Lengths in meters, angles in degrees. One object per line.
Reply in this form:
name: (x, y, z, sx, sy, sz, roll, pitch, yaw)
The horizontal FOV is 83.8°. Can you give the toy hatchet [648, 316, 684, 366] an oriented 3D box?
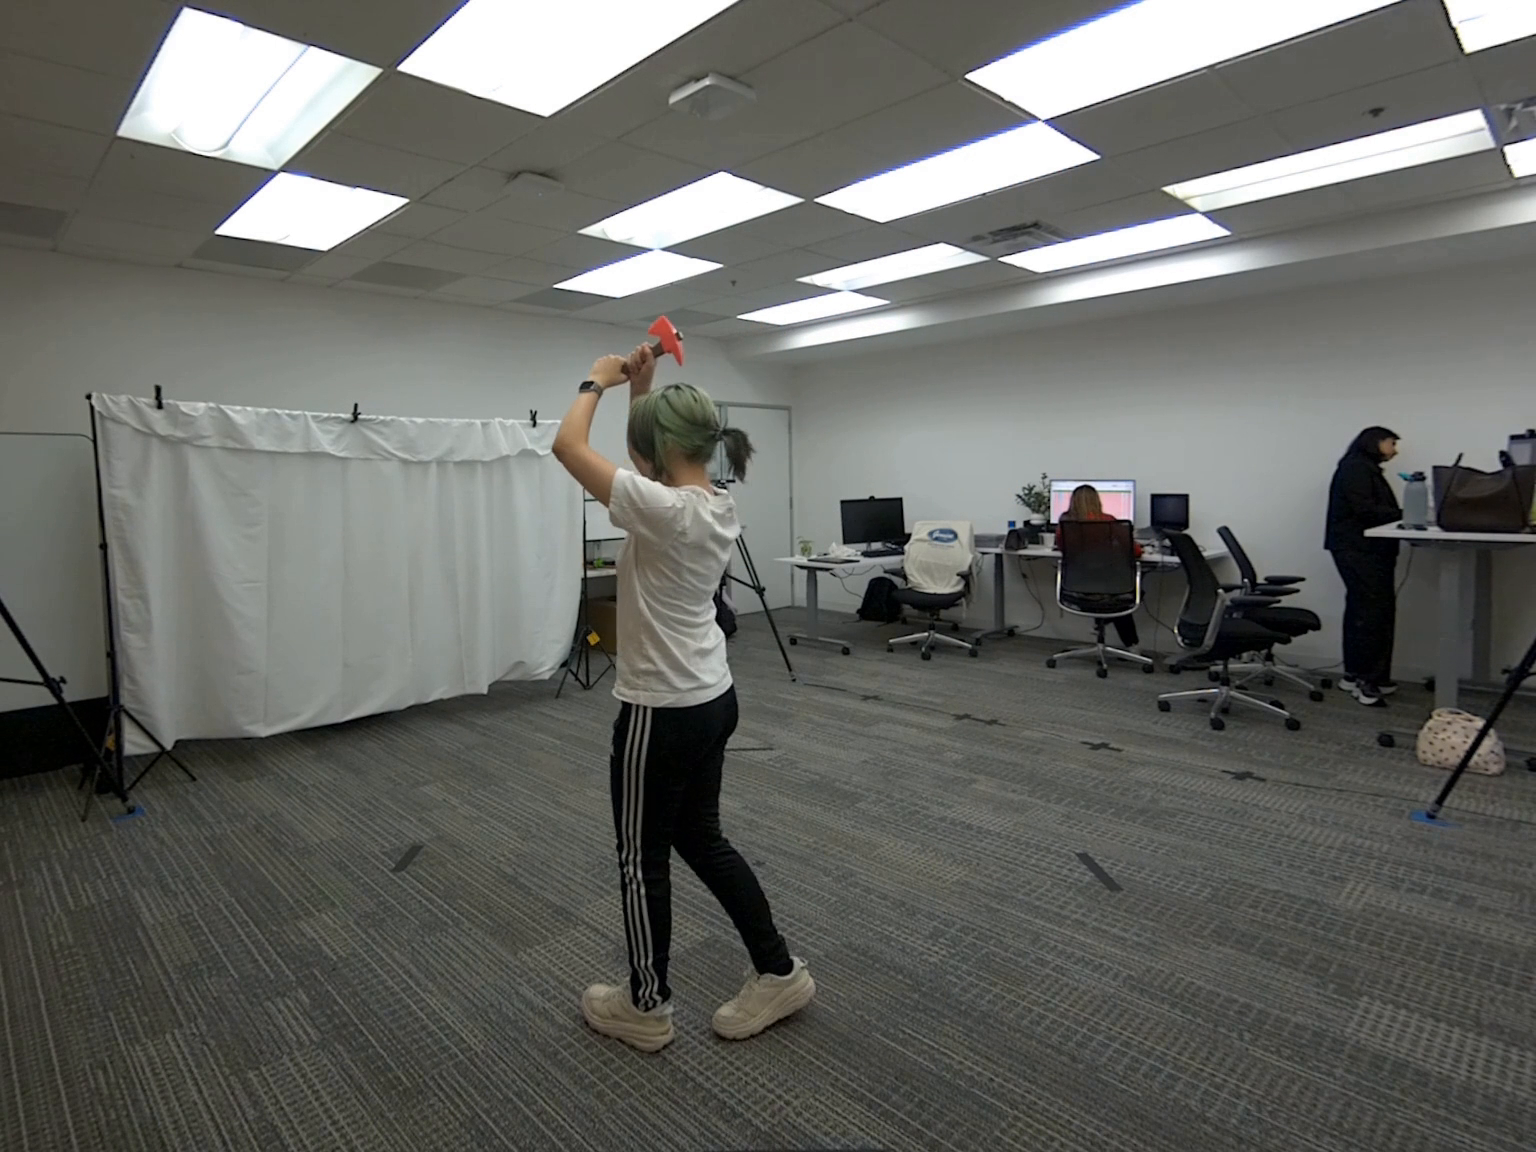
toy hatchet: (-0.336, -0.576, 2.156, 0.276, 0.130, 0.029, -3, 4, 25)
